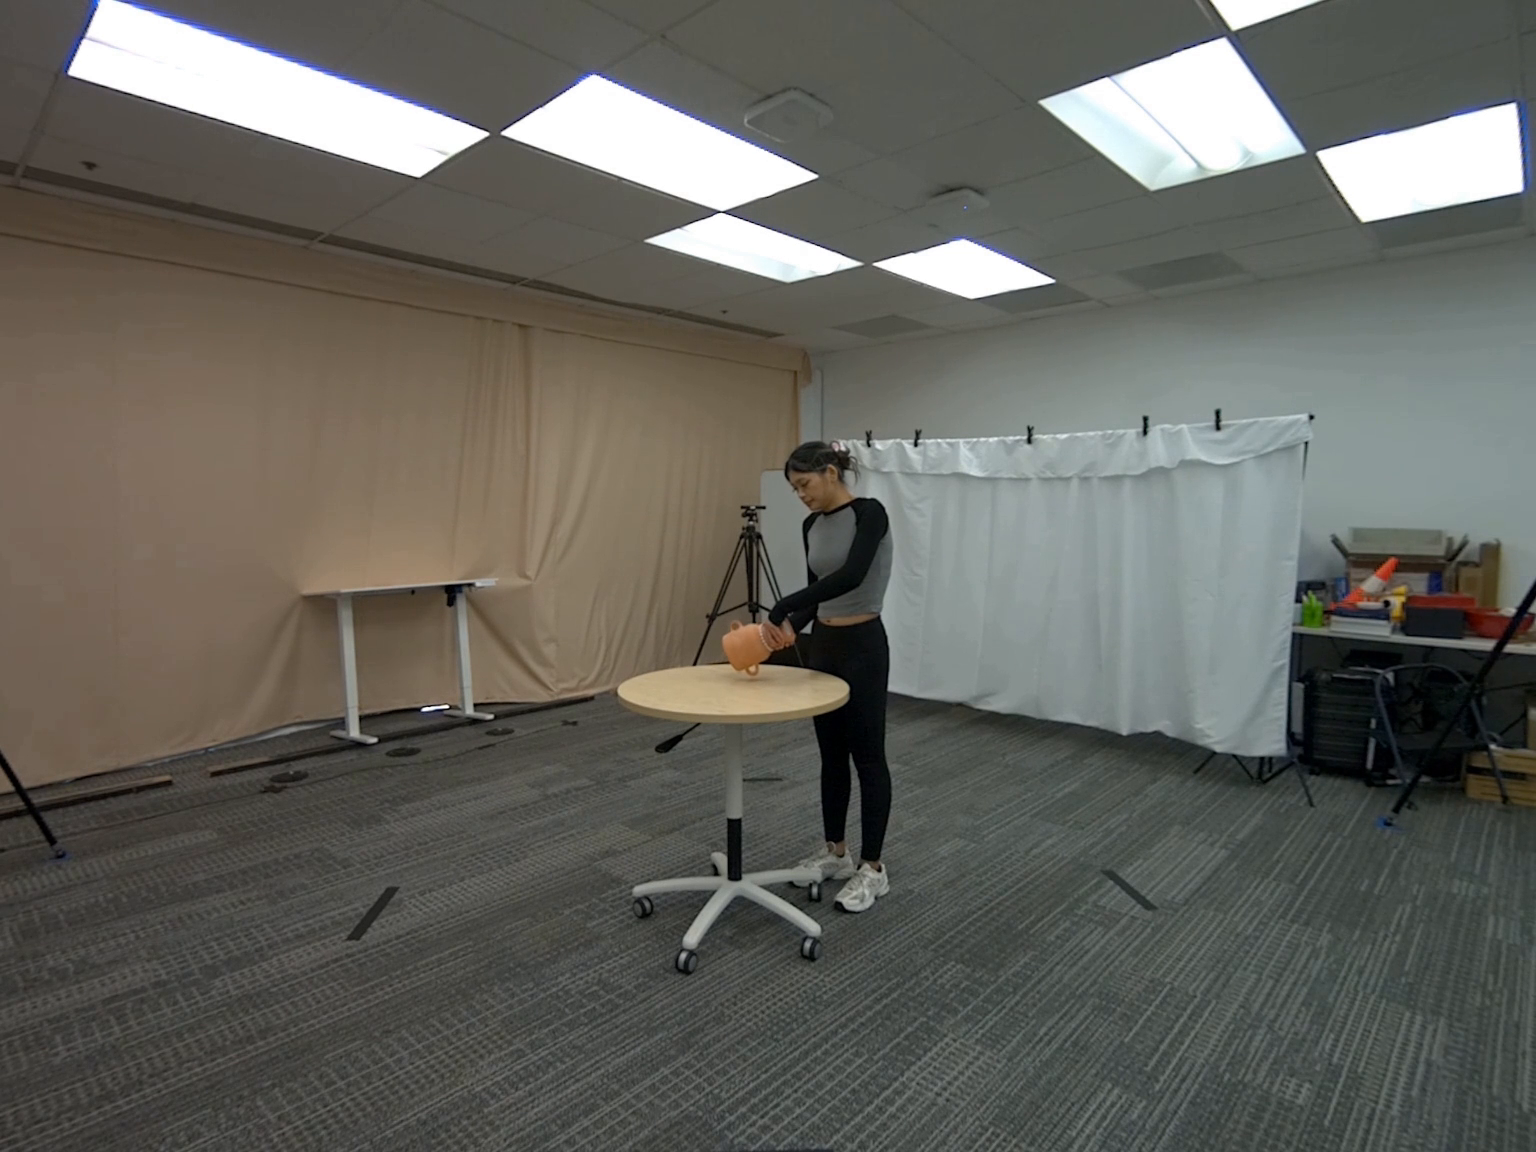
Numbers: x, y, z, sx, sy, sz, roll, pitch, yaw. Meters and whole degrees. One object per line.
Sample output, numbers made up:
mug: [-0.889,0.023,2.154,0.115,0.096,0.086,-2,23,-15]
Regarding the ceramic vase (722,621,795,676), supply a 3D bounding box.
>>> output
ceramic vase: [-0.032,0.224,2.849,0.222,0.155,0.137,-27,27,15]
